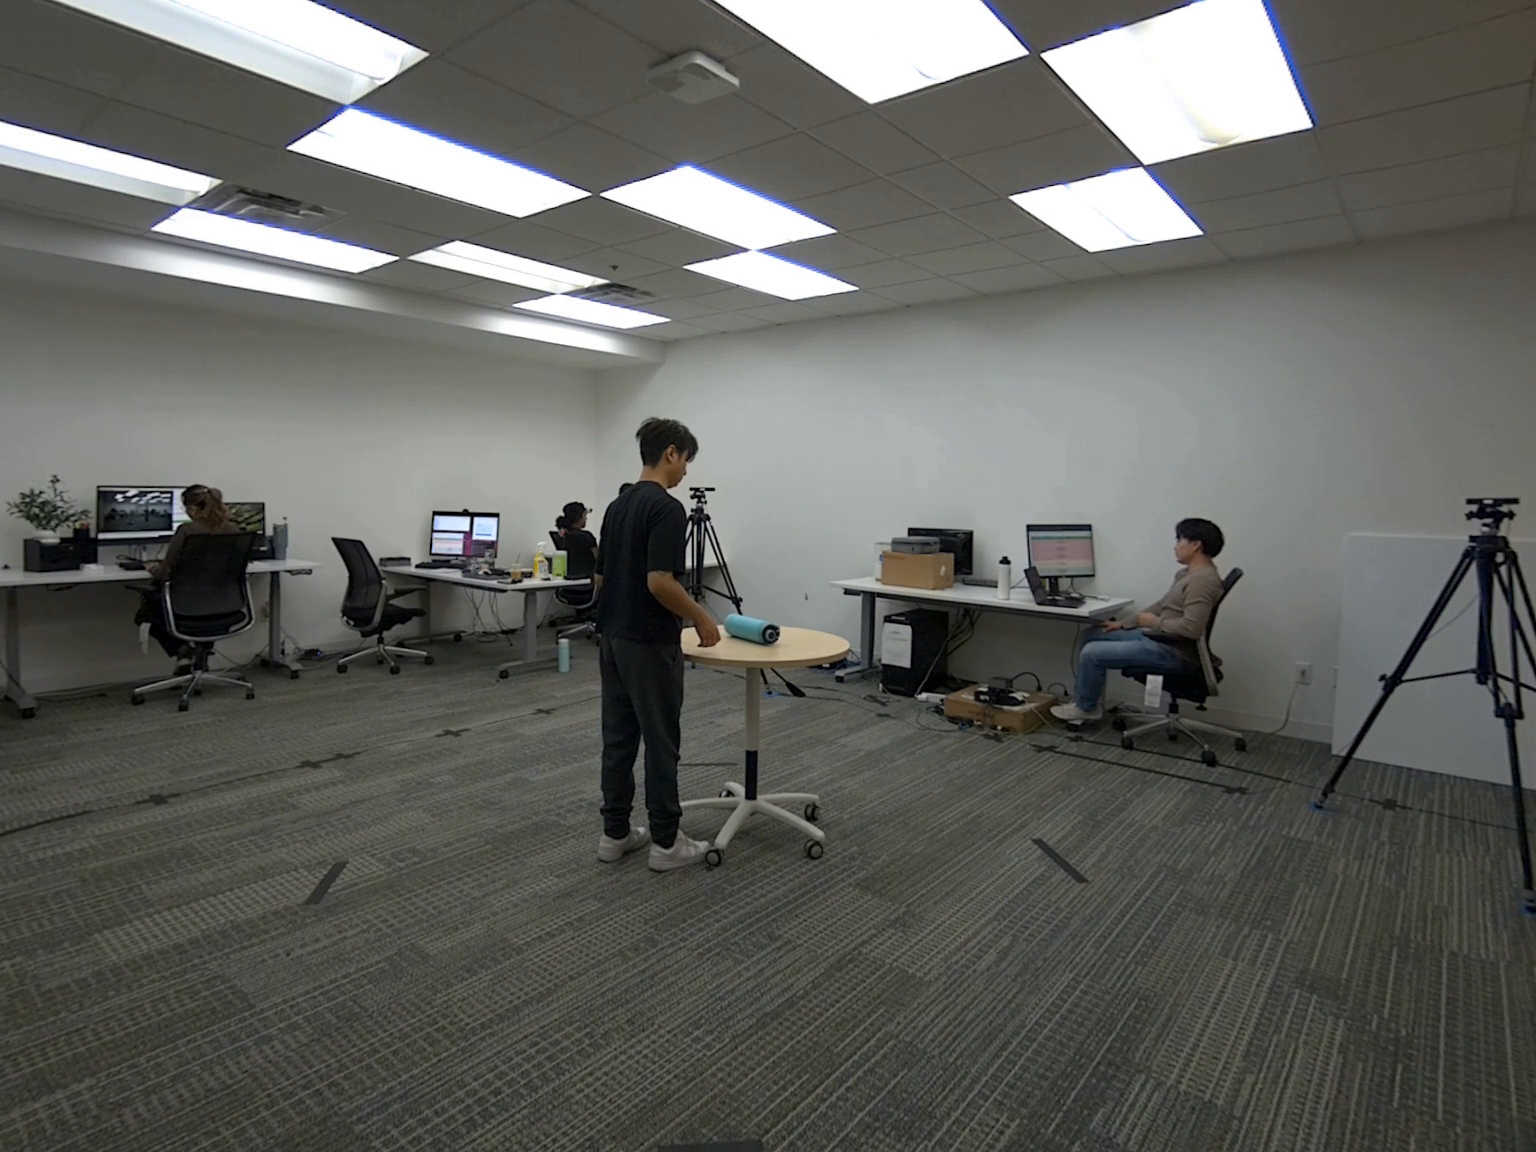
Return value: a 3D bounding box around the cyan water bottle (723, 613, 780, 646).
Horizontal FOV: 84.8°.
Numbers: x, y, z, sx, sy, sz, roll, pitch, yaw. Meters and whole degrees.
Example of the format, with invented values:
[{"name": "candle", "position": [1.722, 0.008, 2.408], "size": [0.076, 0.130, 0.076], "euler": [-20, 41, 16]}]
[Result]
[{"name": "cyan water bottle", "position": [-0.073, 0.211, 3.411], "size": [0.089, 0.092, 0.293], "euler": [-2, 7, -38]}]
